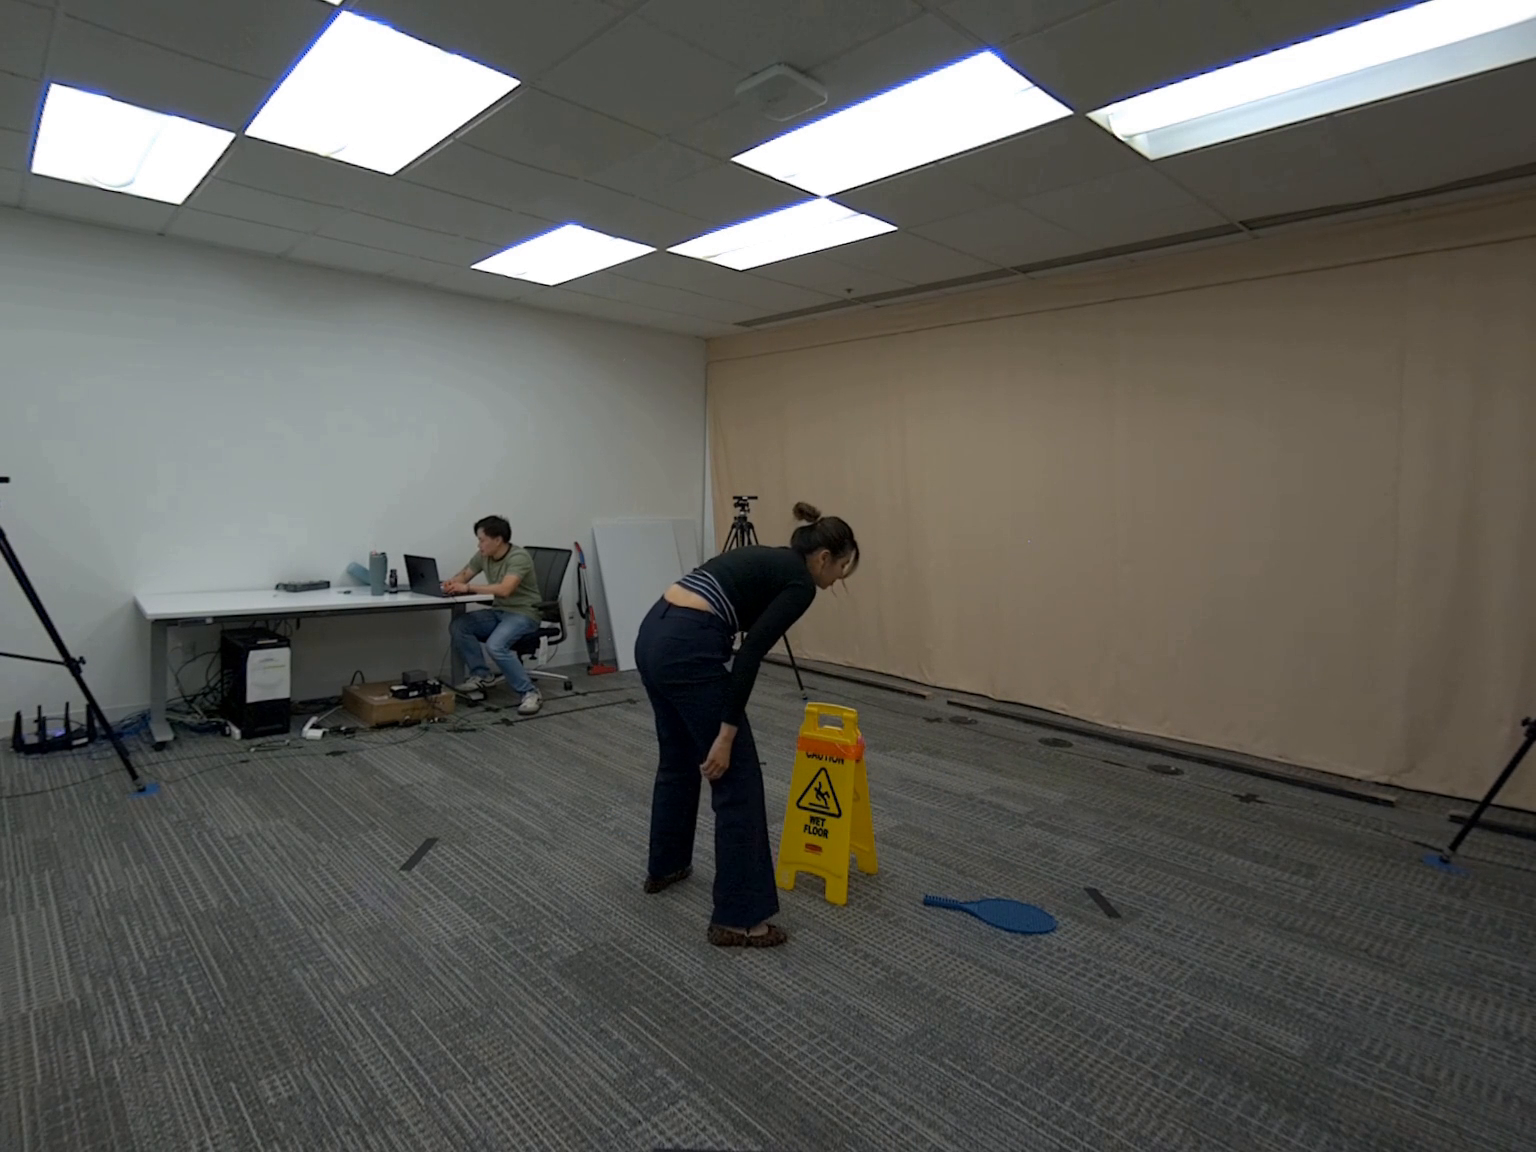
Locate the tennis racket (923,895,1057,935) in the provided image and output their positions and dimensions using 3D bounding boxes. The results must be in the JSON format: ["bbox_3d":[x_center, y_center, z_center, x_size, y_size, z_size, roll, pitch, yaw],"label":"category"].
[{"bbox_3d":[0.741,1.139,2.858,0.438,0.031,0.212,4,5,14],"label":"tennis racket"}]
